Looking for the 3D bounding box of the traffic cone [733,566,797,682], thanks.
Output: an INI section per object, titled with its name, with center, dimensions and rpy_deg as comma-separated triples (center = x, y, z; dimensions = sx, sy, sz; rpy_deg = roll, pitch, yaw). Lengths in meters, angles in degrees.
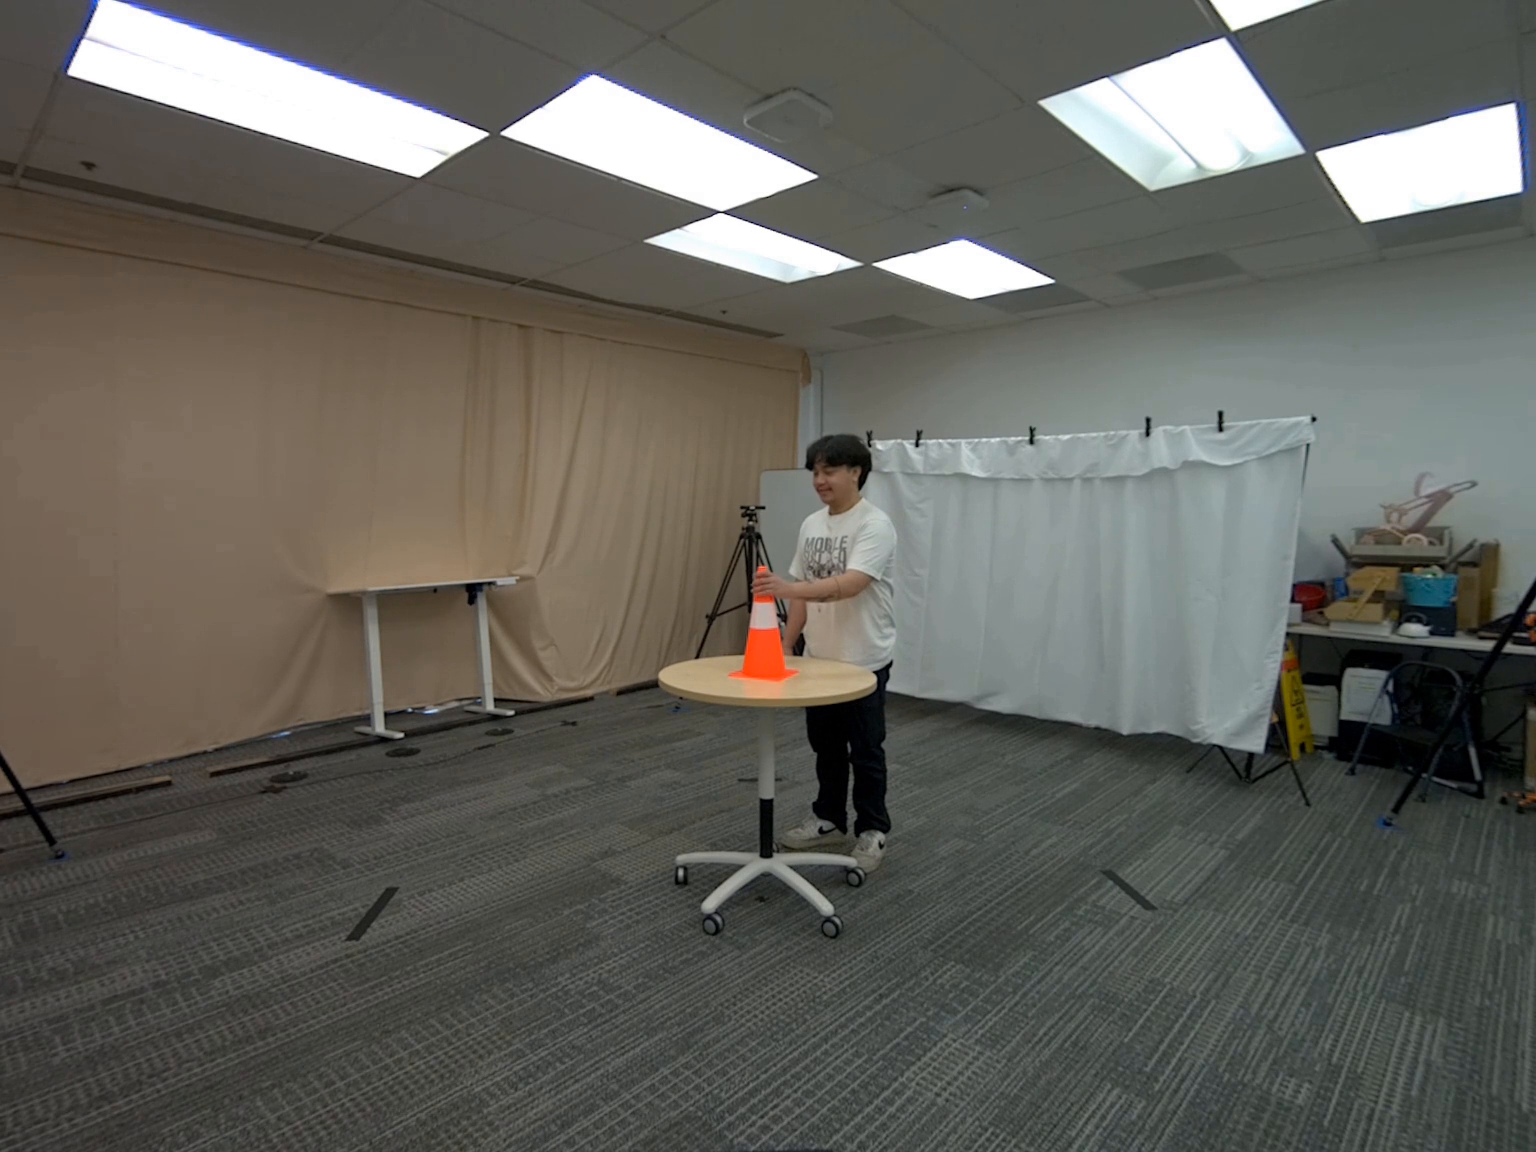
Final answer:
[traffic cone]
center = -0.018, 0.161, 2.978
dimensions = 0.210, 0.383, 0.199
rpy_deg = -1, 3, 25
